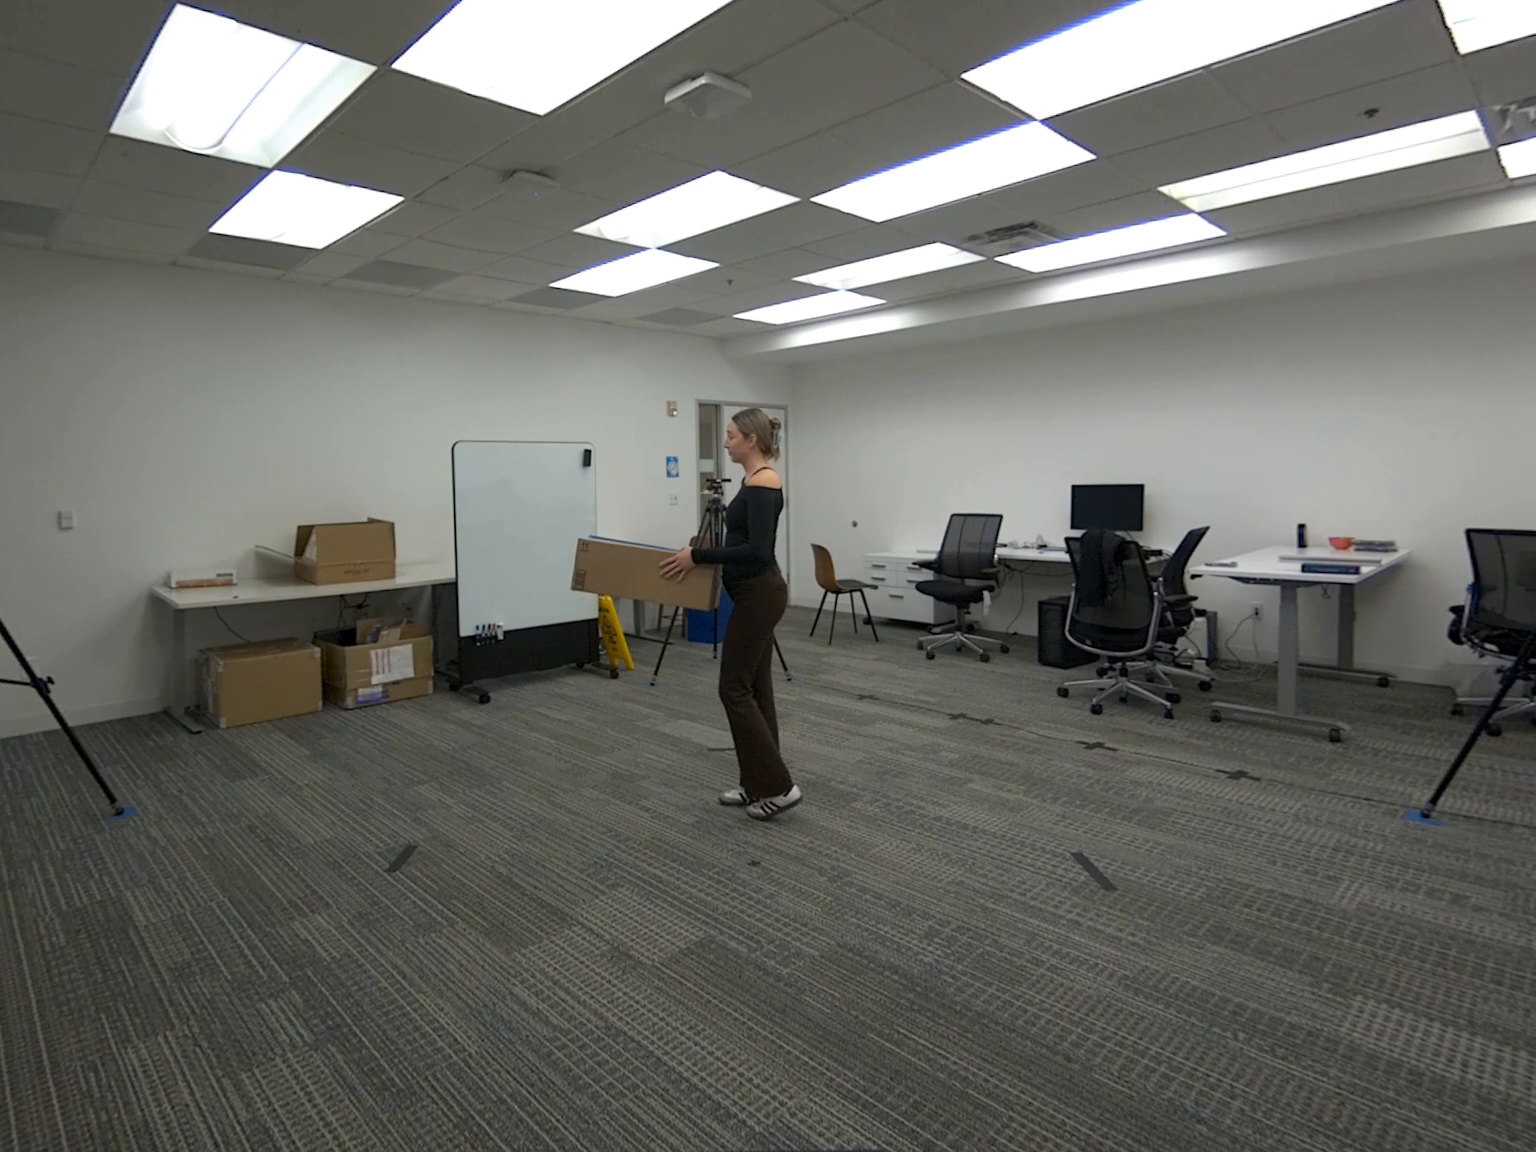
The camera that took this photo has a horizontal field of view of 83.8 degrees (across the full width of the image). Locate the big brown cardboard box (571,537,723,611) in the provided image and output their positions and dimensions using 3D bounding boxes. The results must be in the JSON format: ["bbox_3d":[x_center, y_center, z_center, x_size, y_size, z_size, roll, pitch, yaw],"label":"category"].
[{"bbox_3d":[-0.499,-0.019,3.626,0.592,0.233,0.416,9,1,4],"label":"big brown cardboard box"}]
